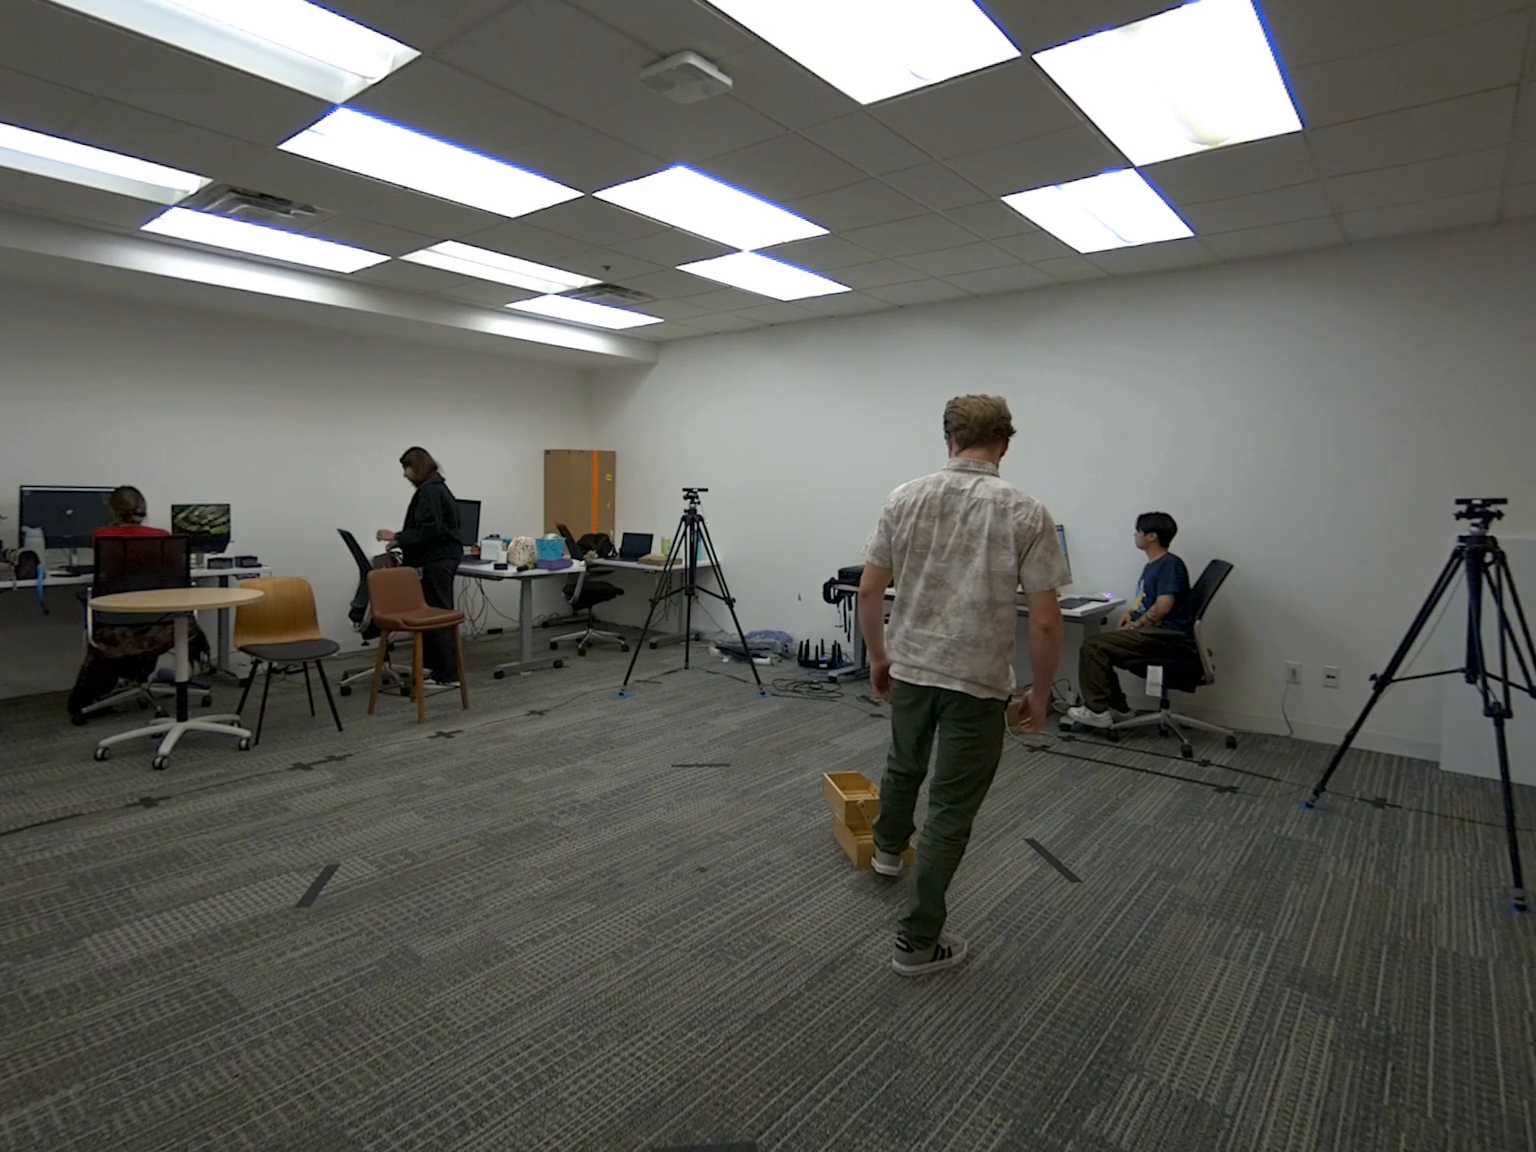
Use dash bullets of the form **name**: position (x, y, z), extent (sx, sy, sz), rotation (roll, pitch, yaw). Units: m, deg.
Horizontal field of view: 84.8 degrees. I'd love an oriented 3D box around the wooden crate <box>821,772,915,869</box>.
- **wooden crate**: position (0.399, 0.931, 3.307), extent (0.298, 0.272, 0.330), rotation (0, 5, -12)
